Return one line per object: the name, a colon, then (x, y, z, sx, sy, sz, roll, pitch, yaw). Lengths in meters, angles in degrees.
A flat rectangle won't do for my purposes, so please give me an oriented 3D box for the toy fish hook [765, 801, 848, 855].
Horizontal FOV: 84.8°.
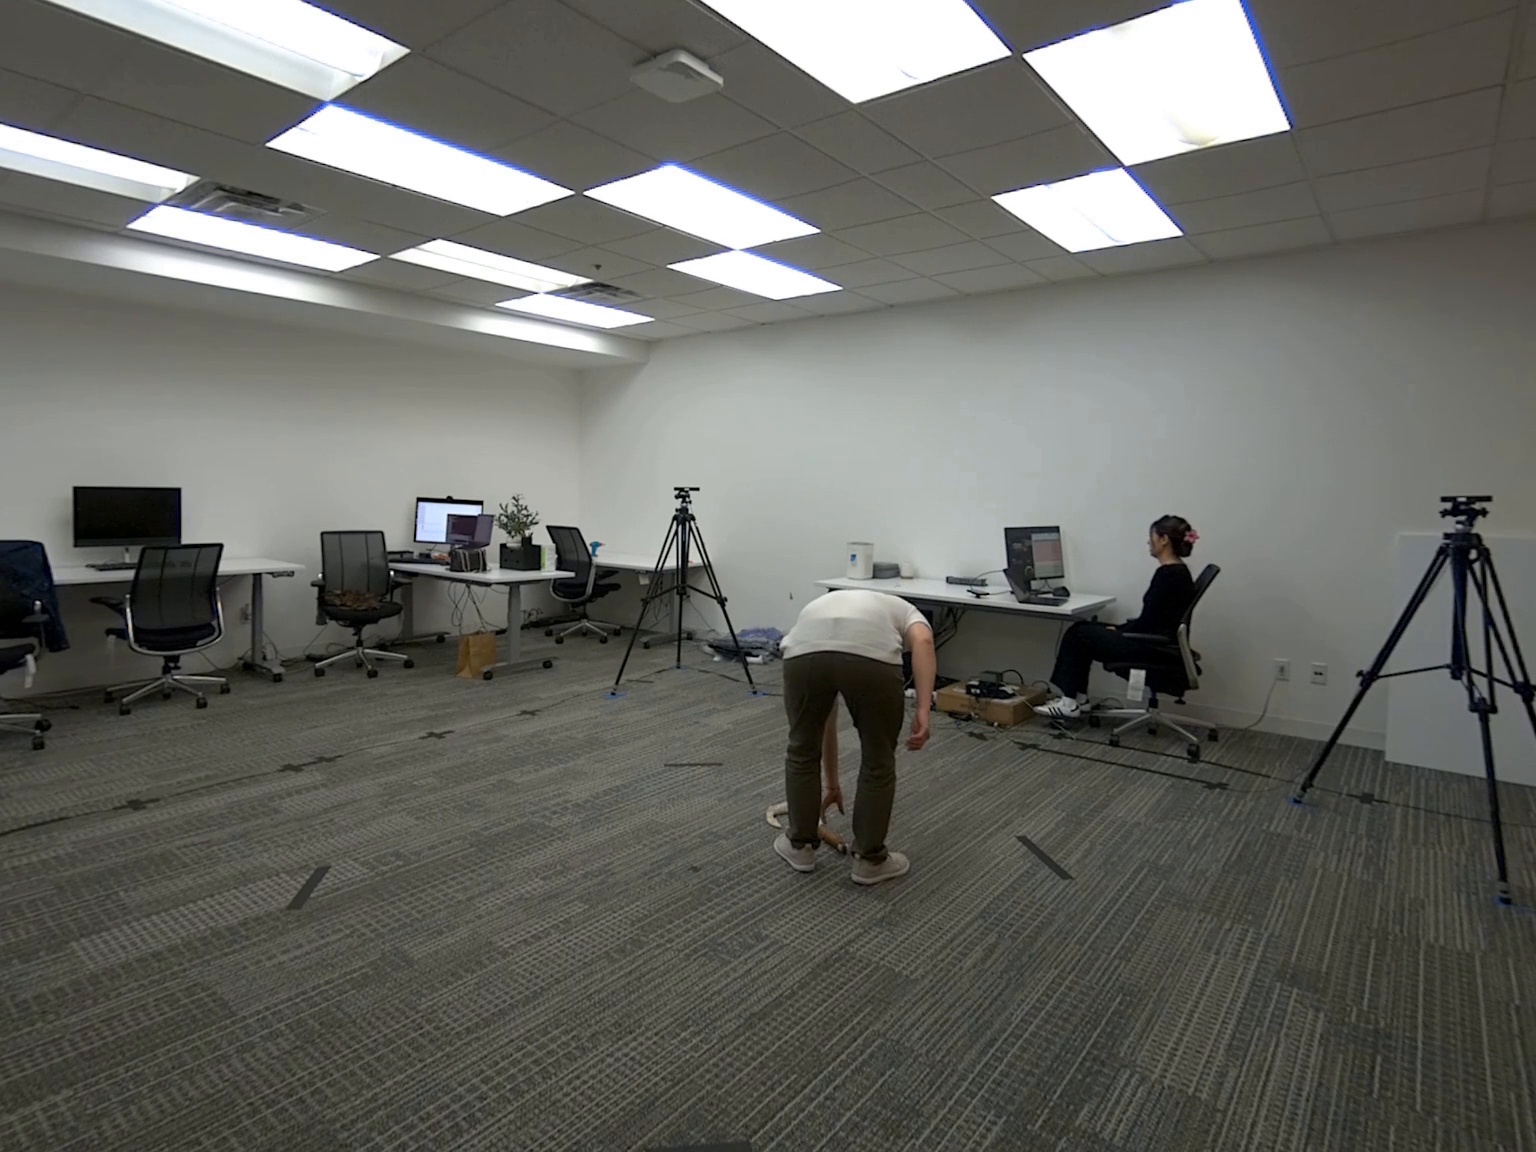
toy fish hook: (0.140, 1.019, 3.462, 0.221, 0.048, 0.519, -10, 9, -21)
